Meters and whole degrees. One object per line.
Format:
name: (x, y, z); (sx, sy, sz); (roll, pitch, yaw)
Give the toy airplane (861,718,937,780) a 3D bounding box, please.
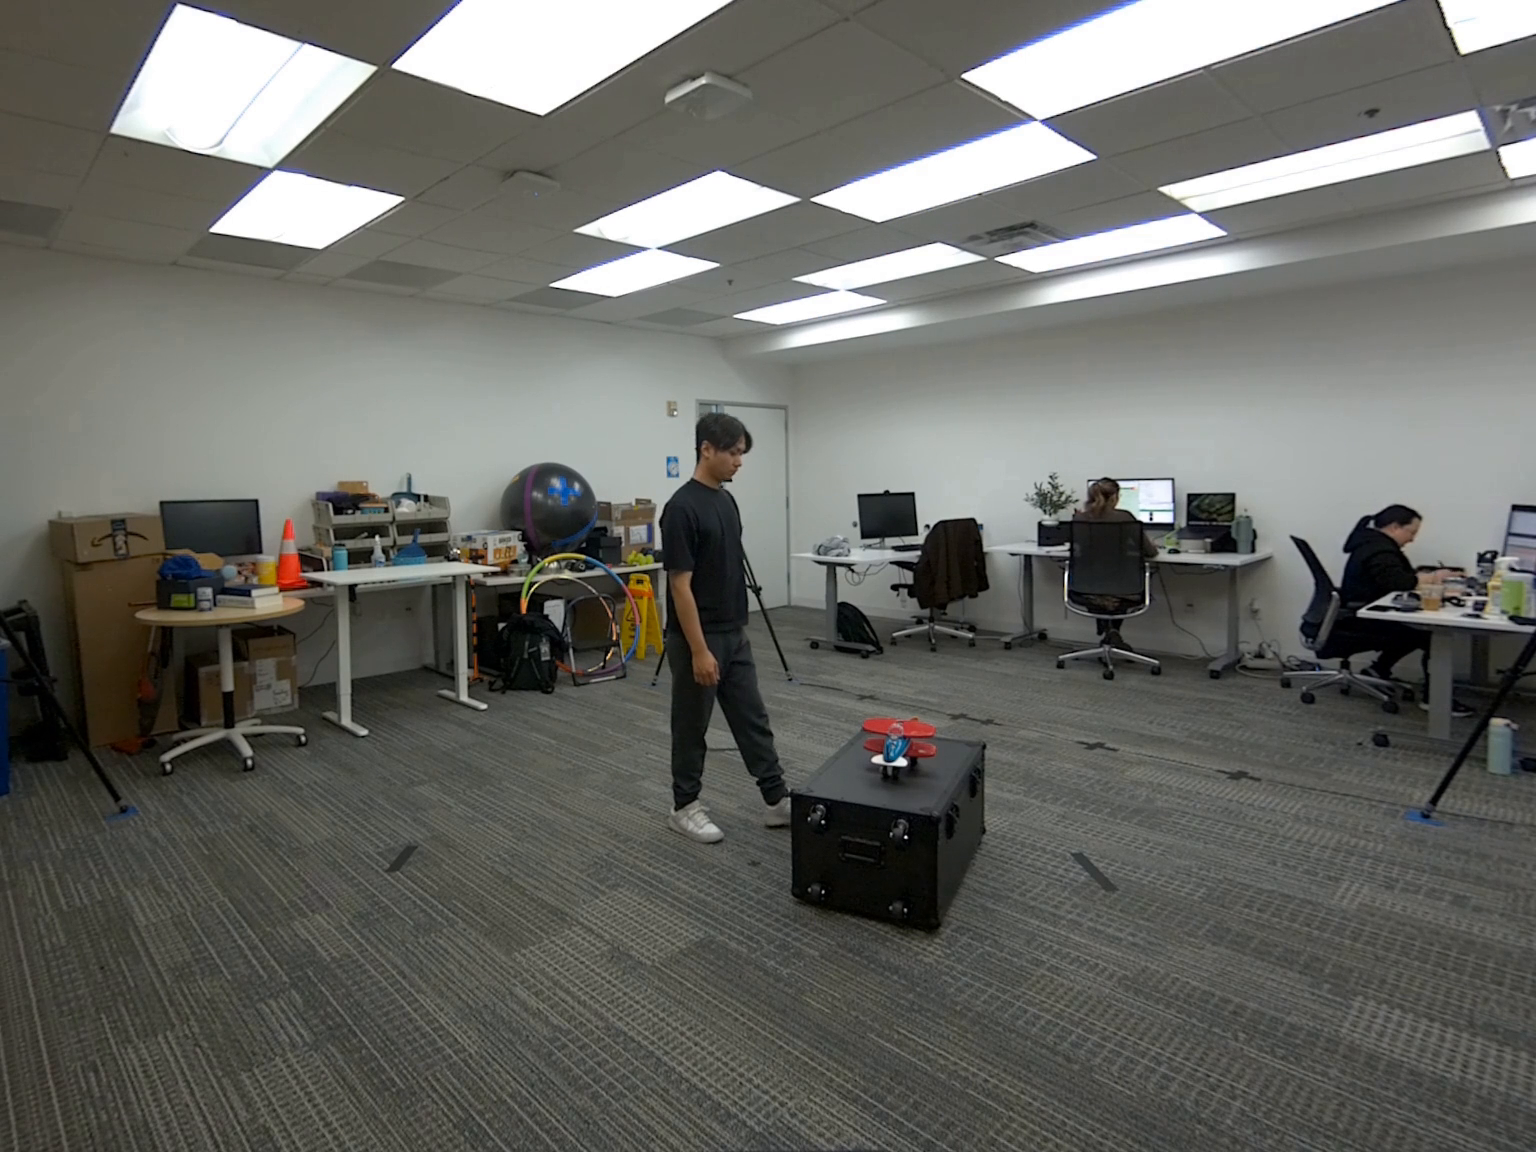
toy airplane: (0.472, 0.599, 2.986); (0.250, 0.156, 0.261); (-1, 4, -5)
